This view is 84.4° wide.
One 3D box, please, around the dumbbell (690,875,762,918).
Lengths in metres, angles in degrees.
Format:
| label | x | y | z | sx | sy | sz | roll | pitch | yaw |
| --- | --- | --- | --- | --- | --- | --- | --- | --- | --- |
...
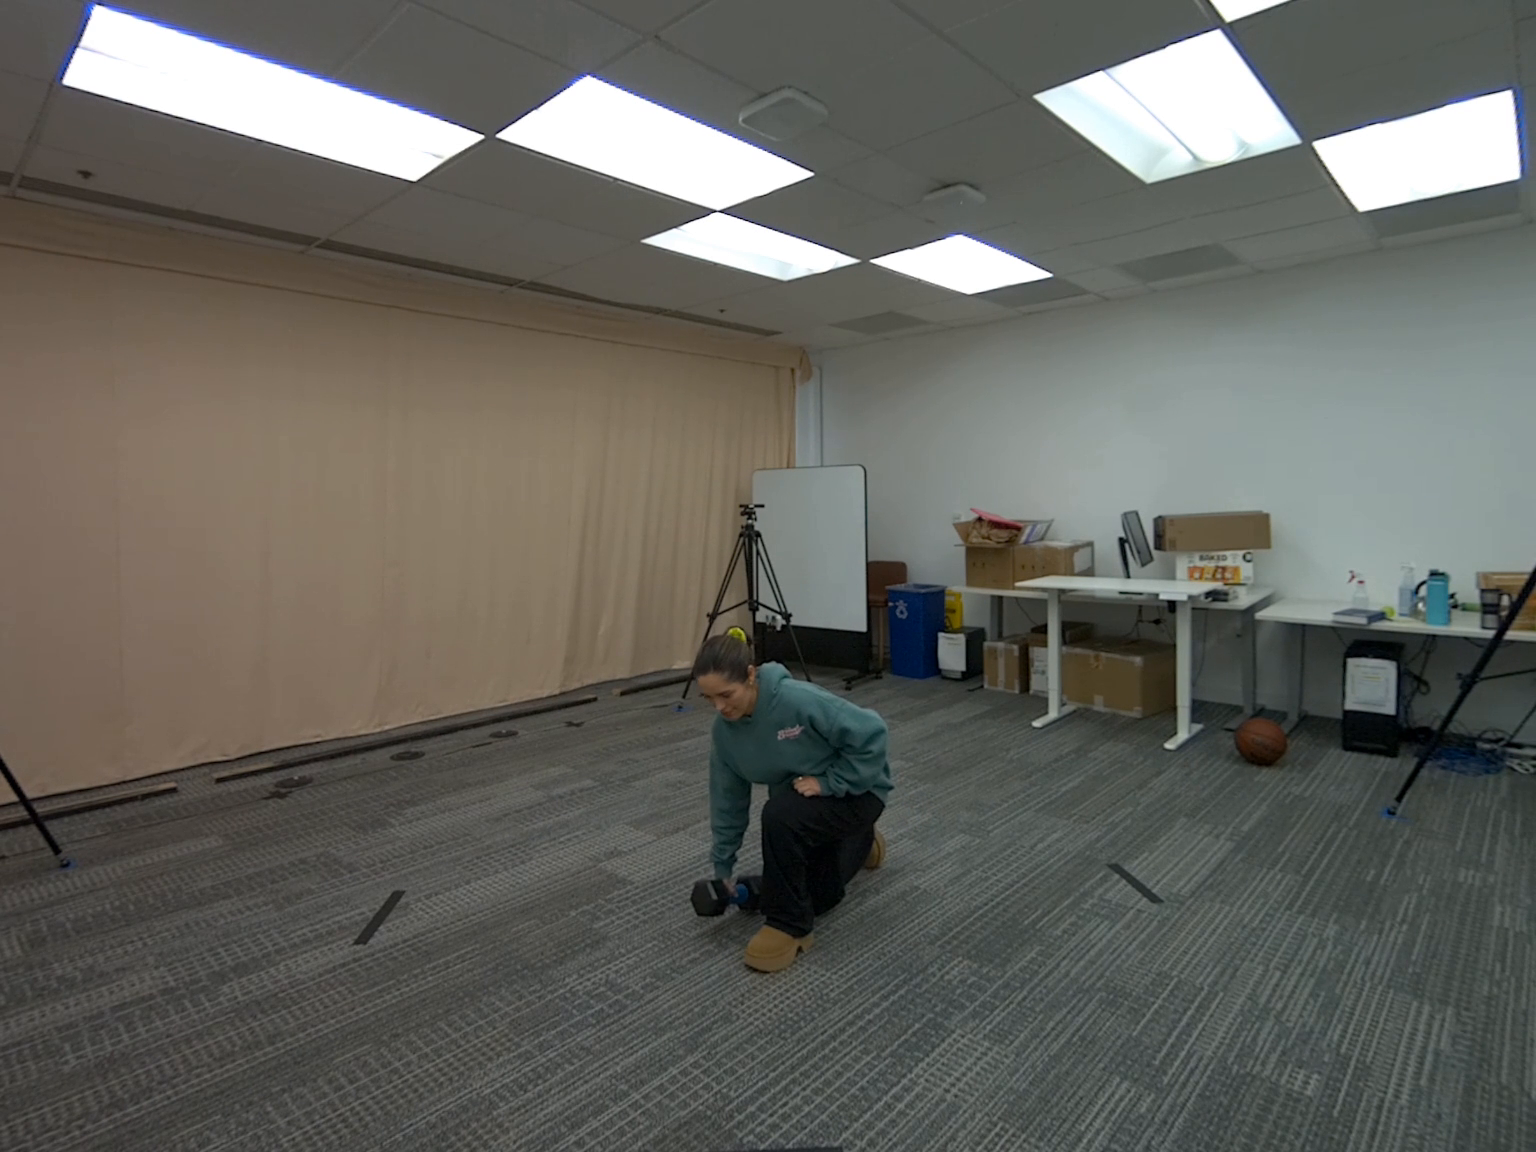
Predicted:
| label | x | y | z | sx | sy | sz | roll | pitch | yaw |
| --- | --- | --- | --- | --- | --- | --- | --- | --- | --- |
| dumbbell | -0.122 | 1.065 | 2.800 | 0.283 | 0.109 | 0.127 | 16 | 33 | -48 |
